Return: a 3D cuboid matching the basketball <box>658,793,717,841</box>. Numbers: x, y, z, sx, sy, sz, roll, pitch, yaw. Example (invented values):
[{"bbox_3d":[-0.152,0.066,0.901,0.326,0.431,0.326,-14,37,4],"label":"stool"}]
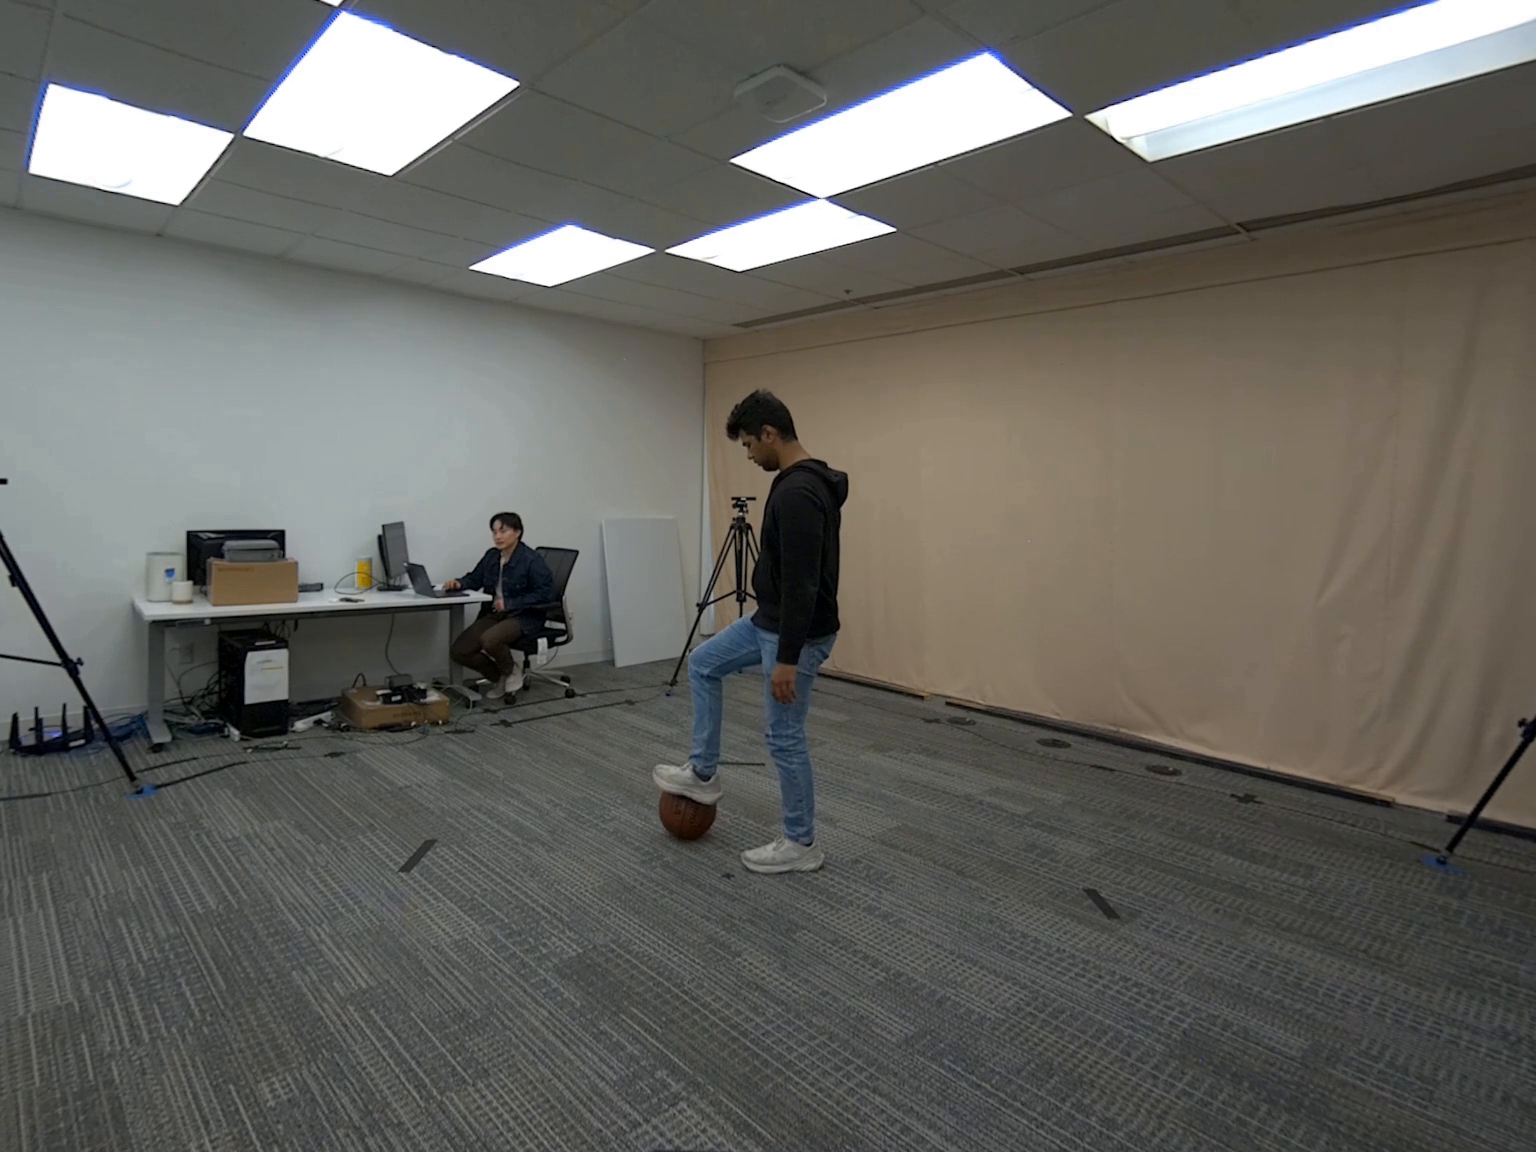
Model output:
[{"bbox_3d":[-0.328,0.950,3.461,0.236,0.235,0.237,1,4,-1],"label":"basketball"}]
